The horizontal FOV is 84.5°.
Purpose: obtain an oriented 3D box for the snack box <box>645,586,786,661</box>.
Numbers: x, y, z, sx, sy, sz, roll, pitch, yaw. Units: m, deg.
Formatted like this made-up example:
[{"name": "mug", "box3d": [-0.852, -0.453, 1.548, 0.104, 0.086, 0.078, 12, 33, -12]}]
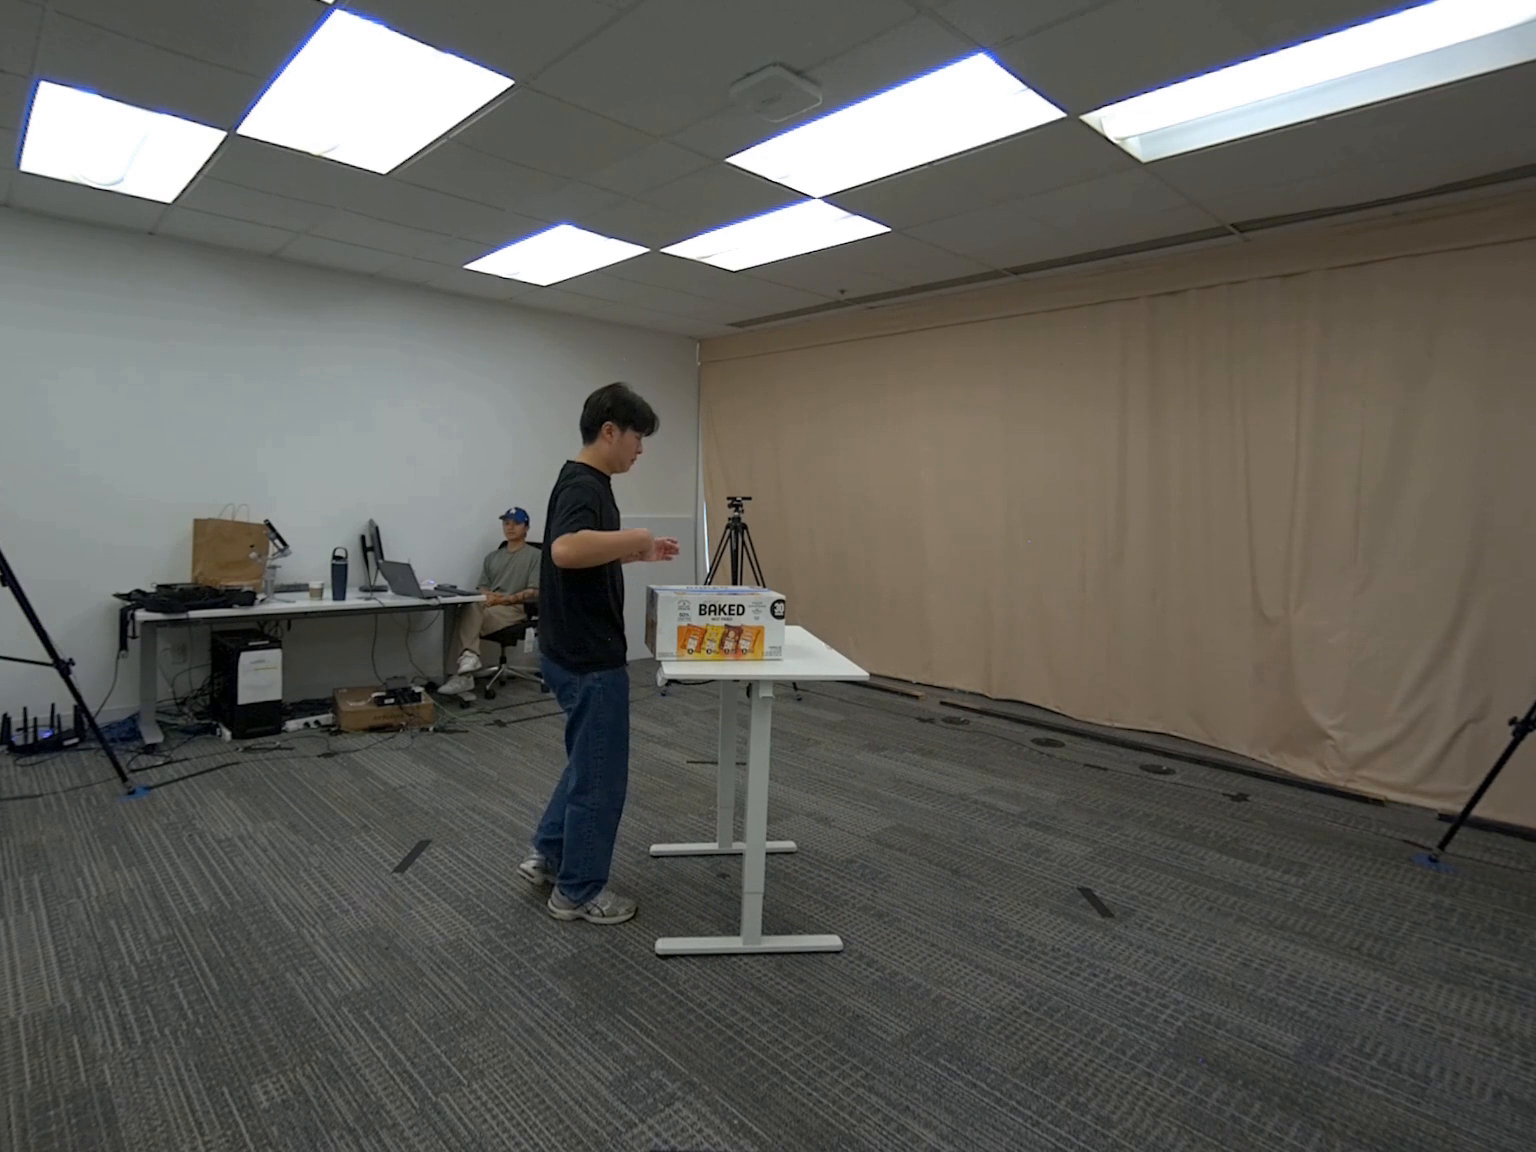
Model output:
[{"name": "snack box", "box3d": [-0.188, 0.149, 2.758, 0.401, 0.205, 0.345, 1, 4, -14]}]
